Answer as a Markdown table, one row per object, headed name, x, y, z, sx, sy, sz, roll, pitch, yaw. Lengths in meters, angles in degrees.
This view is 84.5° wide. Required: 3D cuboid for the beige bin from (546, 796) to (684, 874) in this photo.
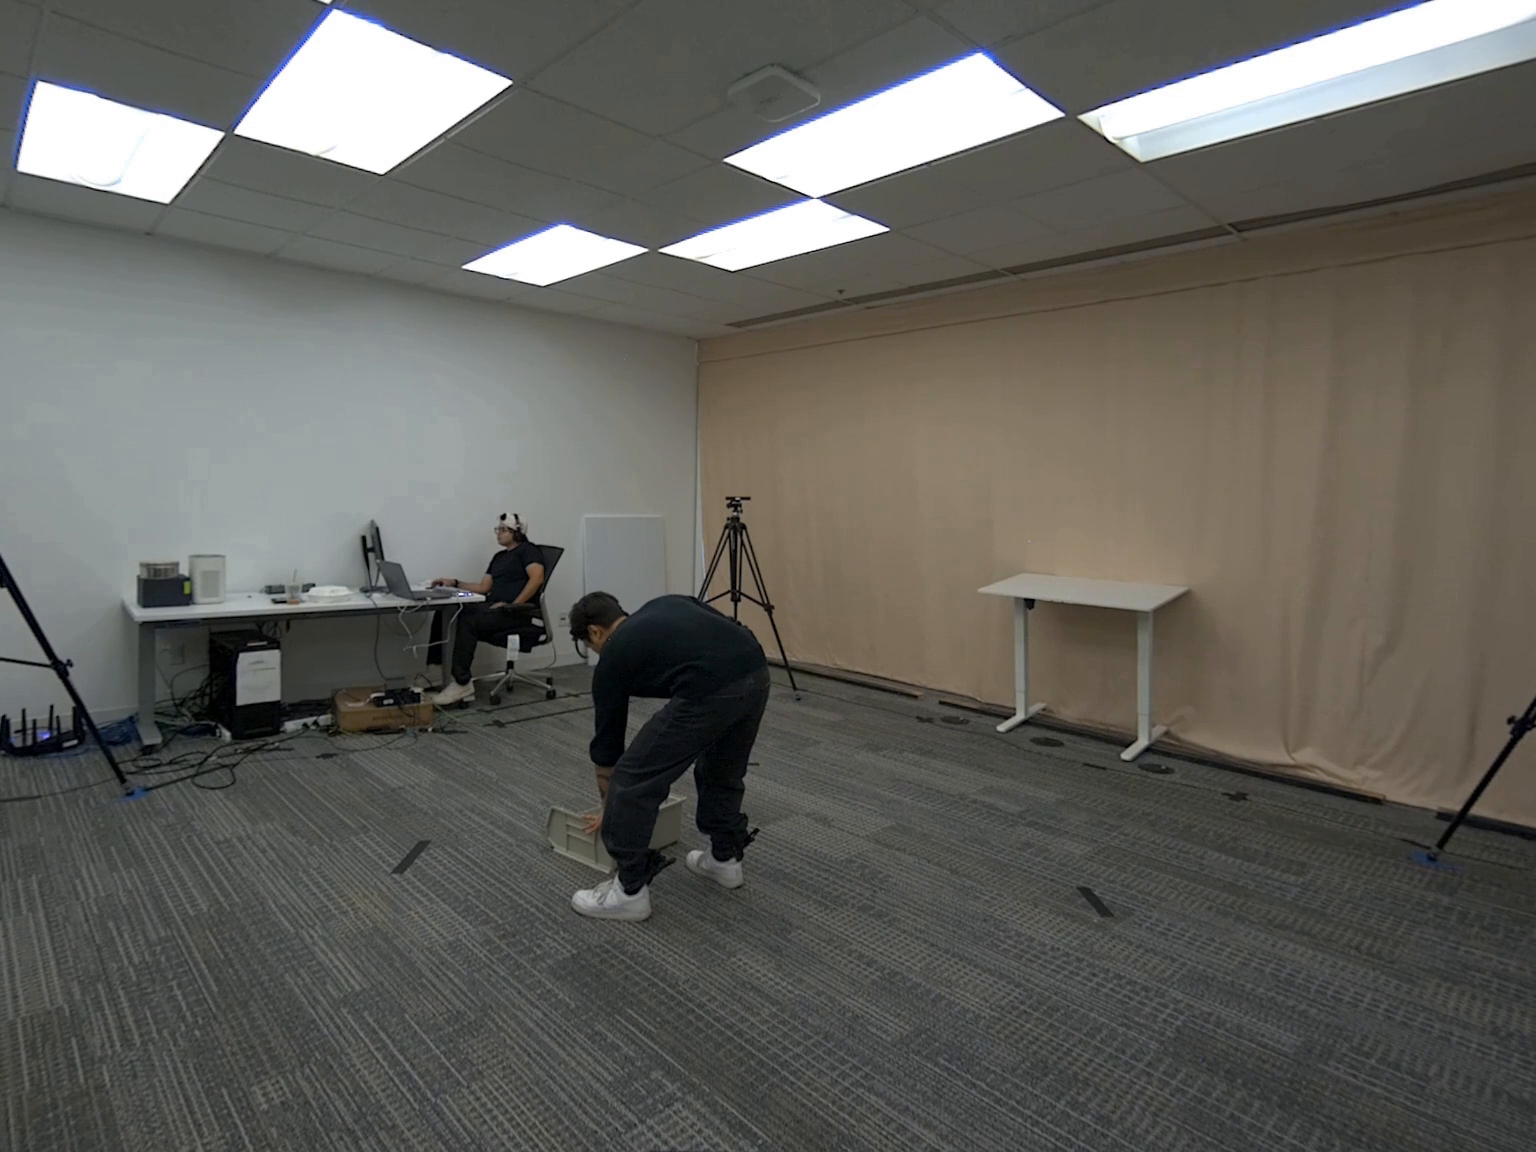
| name | x | y | z | sx | sy | sz | roll | pitch | yaw |
| --- | --- | --- | --- | --- | --- | --- | --- | --- | --- |
| beige bin | -0.612 | 0.987 | 3.362 | 0.387 | 0.188 | 0.413 | 6 | 6 | 37 |
